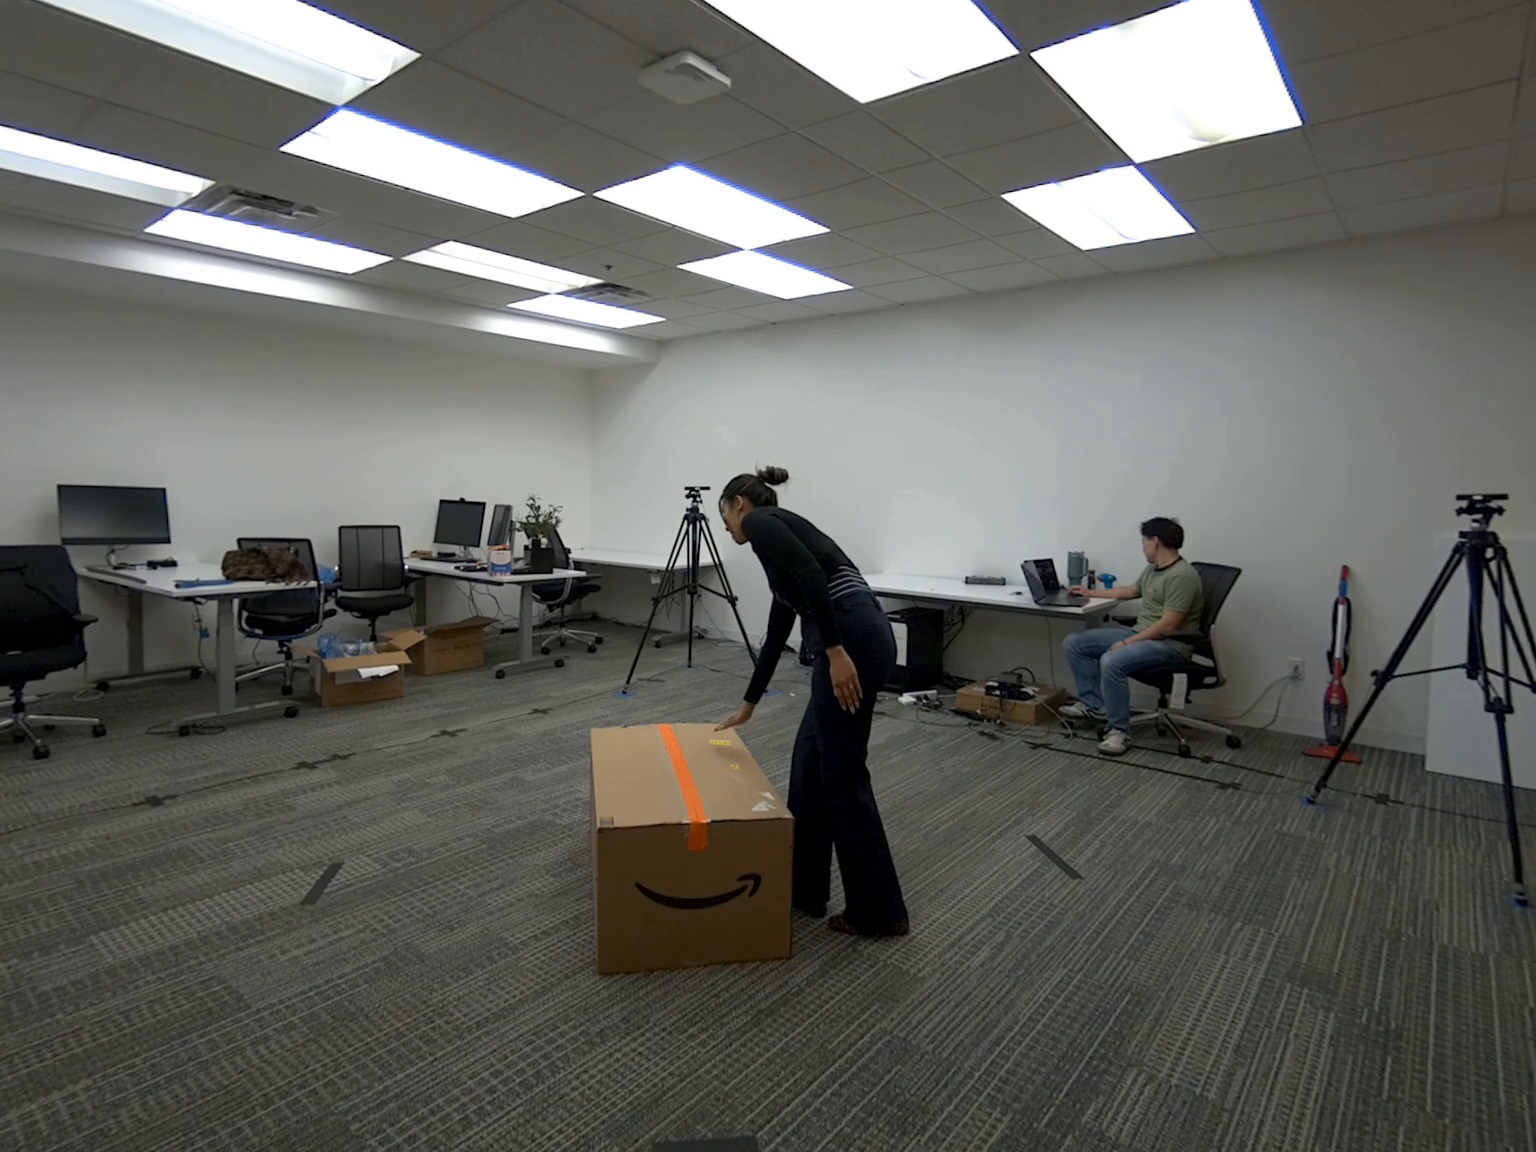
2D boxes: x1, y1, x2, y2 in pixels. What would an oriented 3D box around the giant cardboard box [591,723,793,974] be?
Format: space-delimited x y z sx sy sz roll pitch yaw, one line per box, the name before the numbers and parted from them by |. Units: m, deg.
giant cardboard box | -0.330 0.860 2.952 0.570 0.425 1.042 0 5 -13
